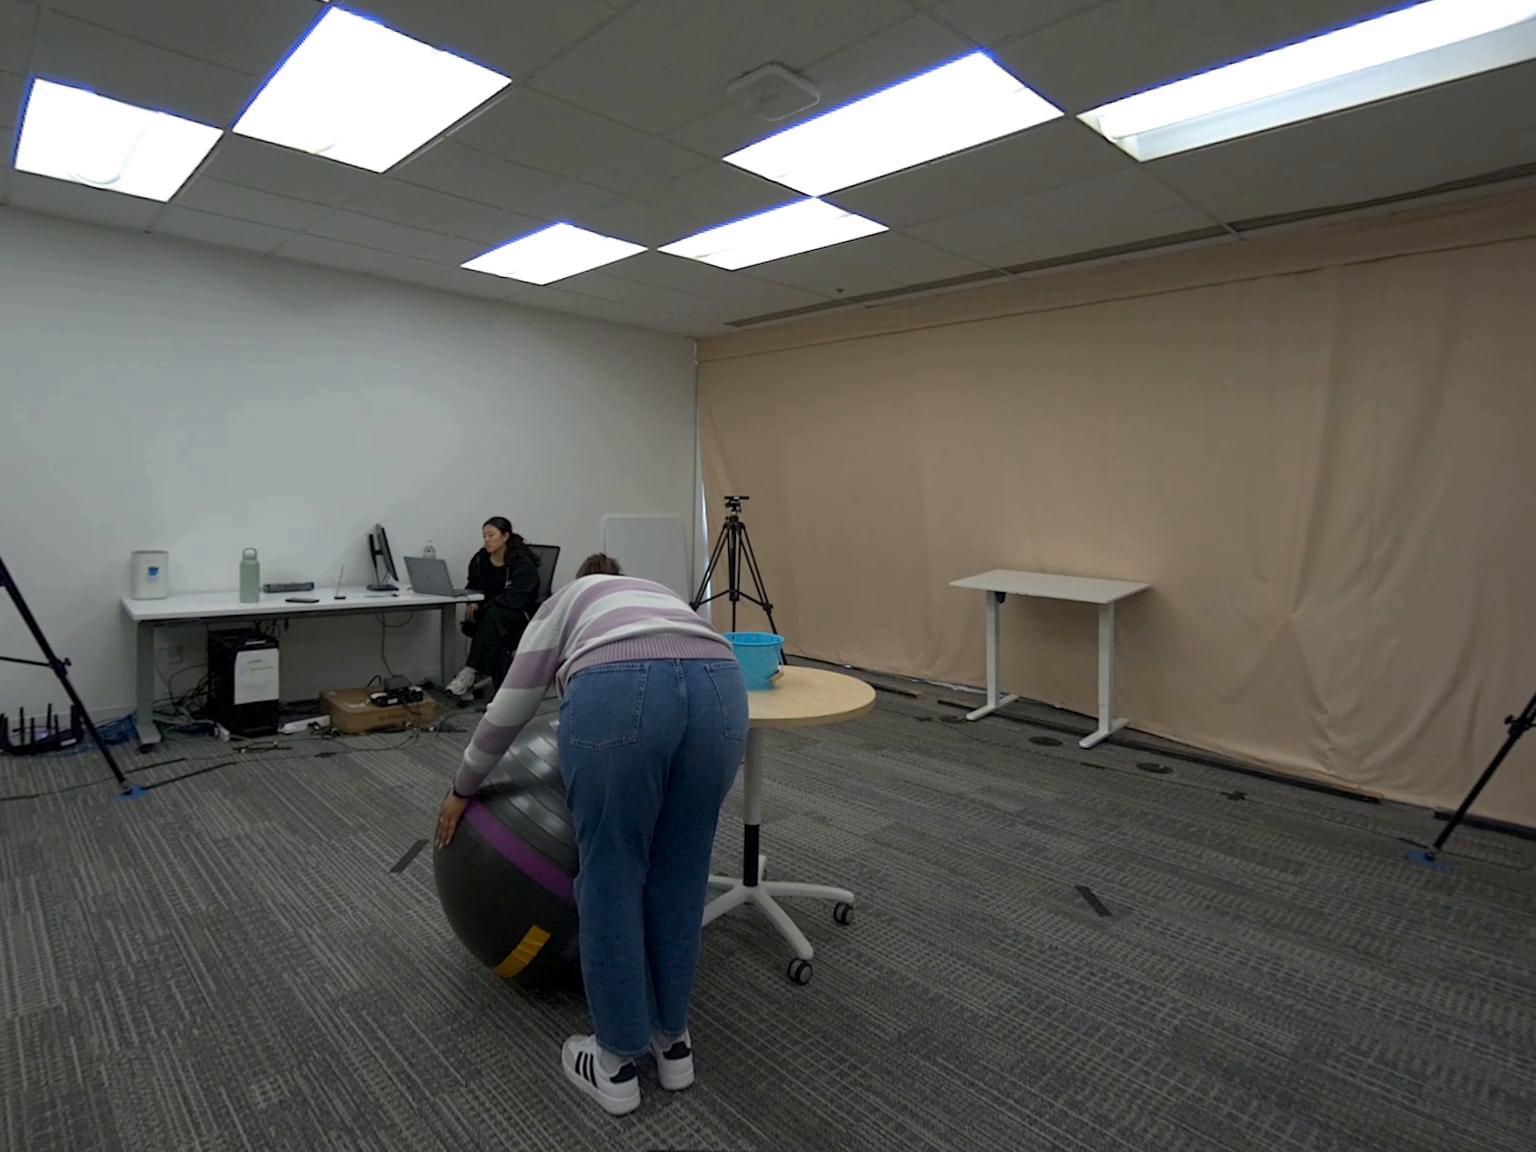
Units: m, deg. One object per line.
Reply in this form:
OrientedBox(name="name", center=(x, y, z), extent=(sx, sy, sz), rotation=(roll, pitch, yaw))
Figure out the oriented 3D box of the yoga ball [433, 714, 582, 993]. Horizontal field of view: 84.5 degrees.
OrientedBox(name="yoga ball", center=(-0.606, 0.785, 2.468), extent=(0.757, 0.756, 0.761), rotation=(1, 4, -1))
